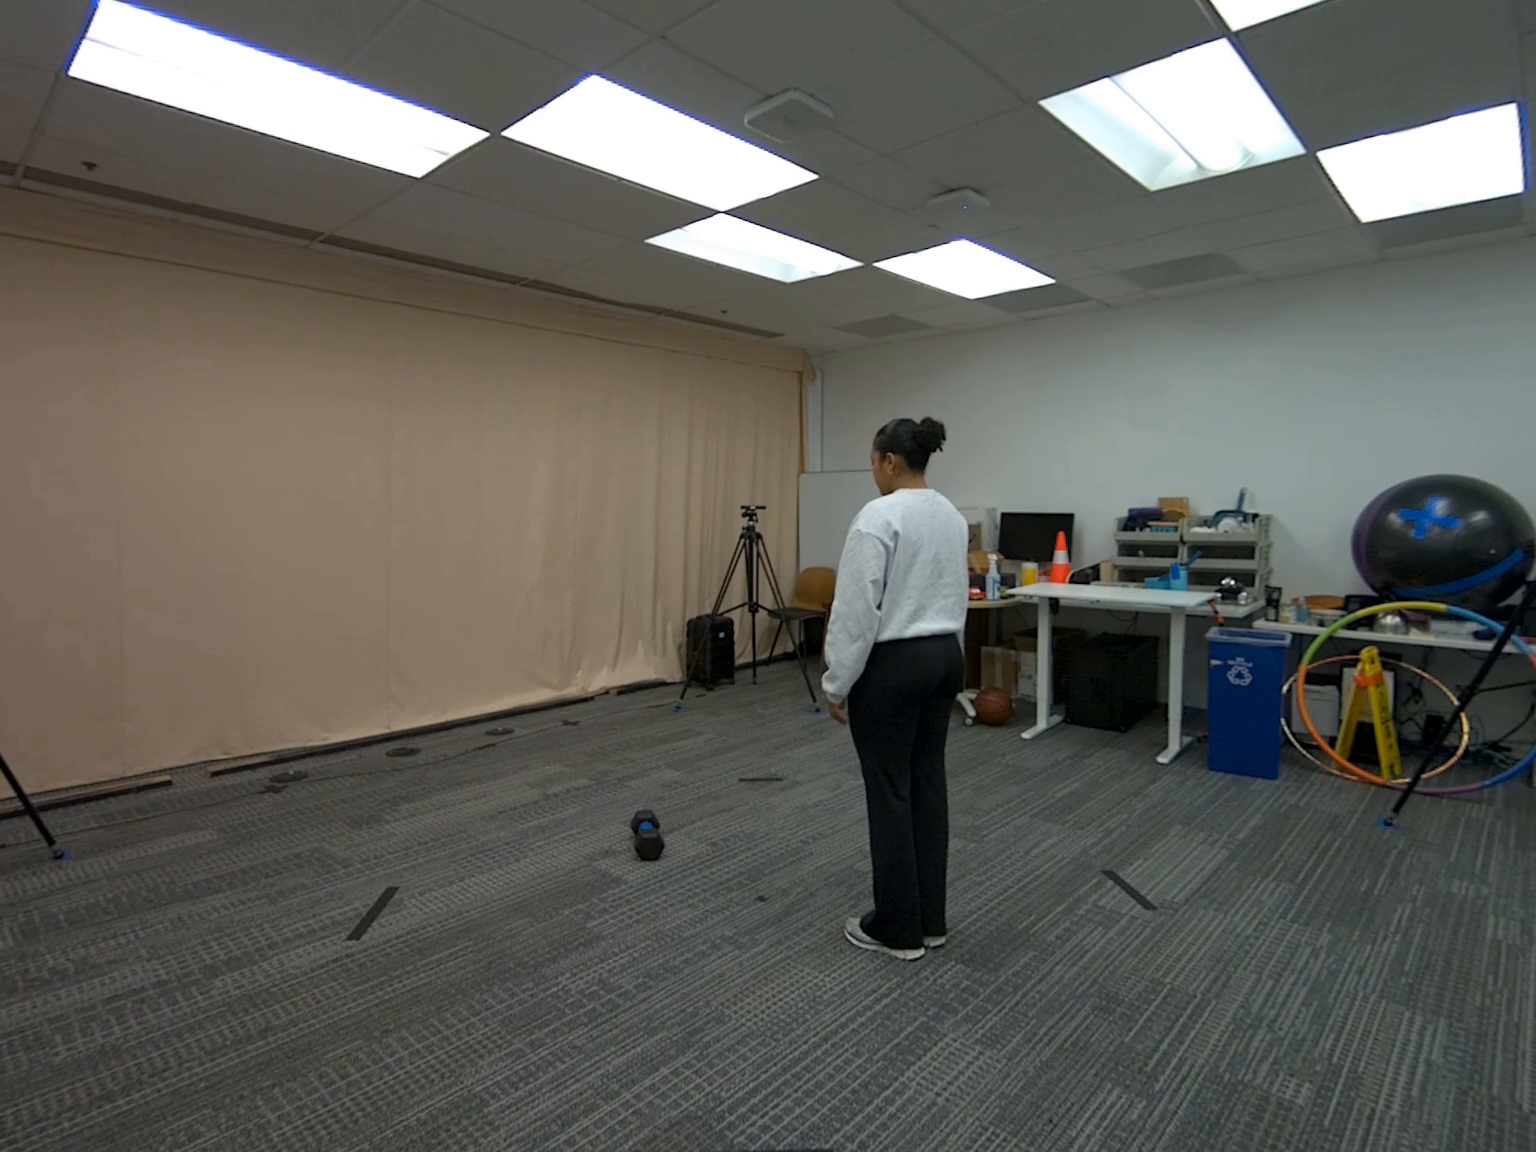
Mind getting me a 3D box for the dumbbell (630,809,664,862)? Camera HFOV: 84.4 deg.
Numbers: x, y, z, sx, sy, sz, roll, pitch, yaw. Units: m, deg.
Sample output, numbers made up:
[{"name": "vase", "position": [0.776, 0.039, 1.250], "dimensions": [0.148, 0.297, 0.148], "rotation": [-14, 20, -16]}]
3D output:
[{"name": "dumbbell", "position": [-0.491, 1.056, 3.440], "dimensions": [0.108, 0.122, 0.297], "rotation": [-30, 10, -8]}]
